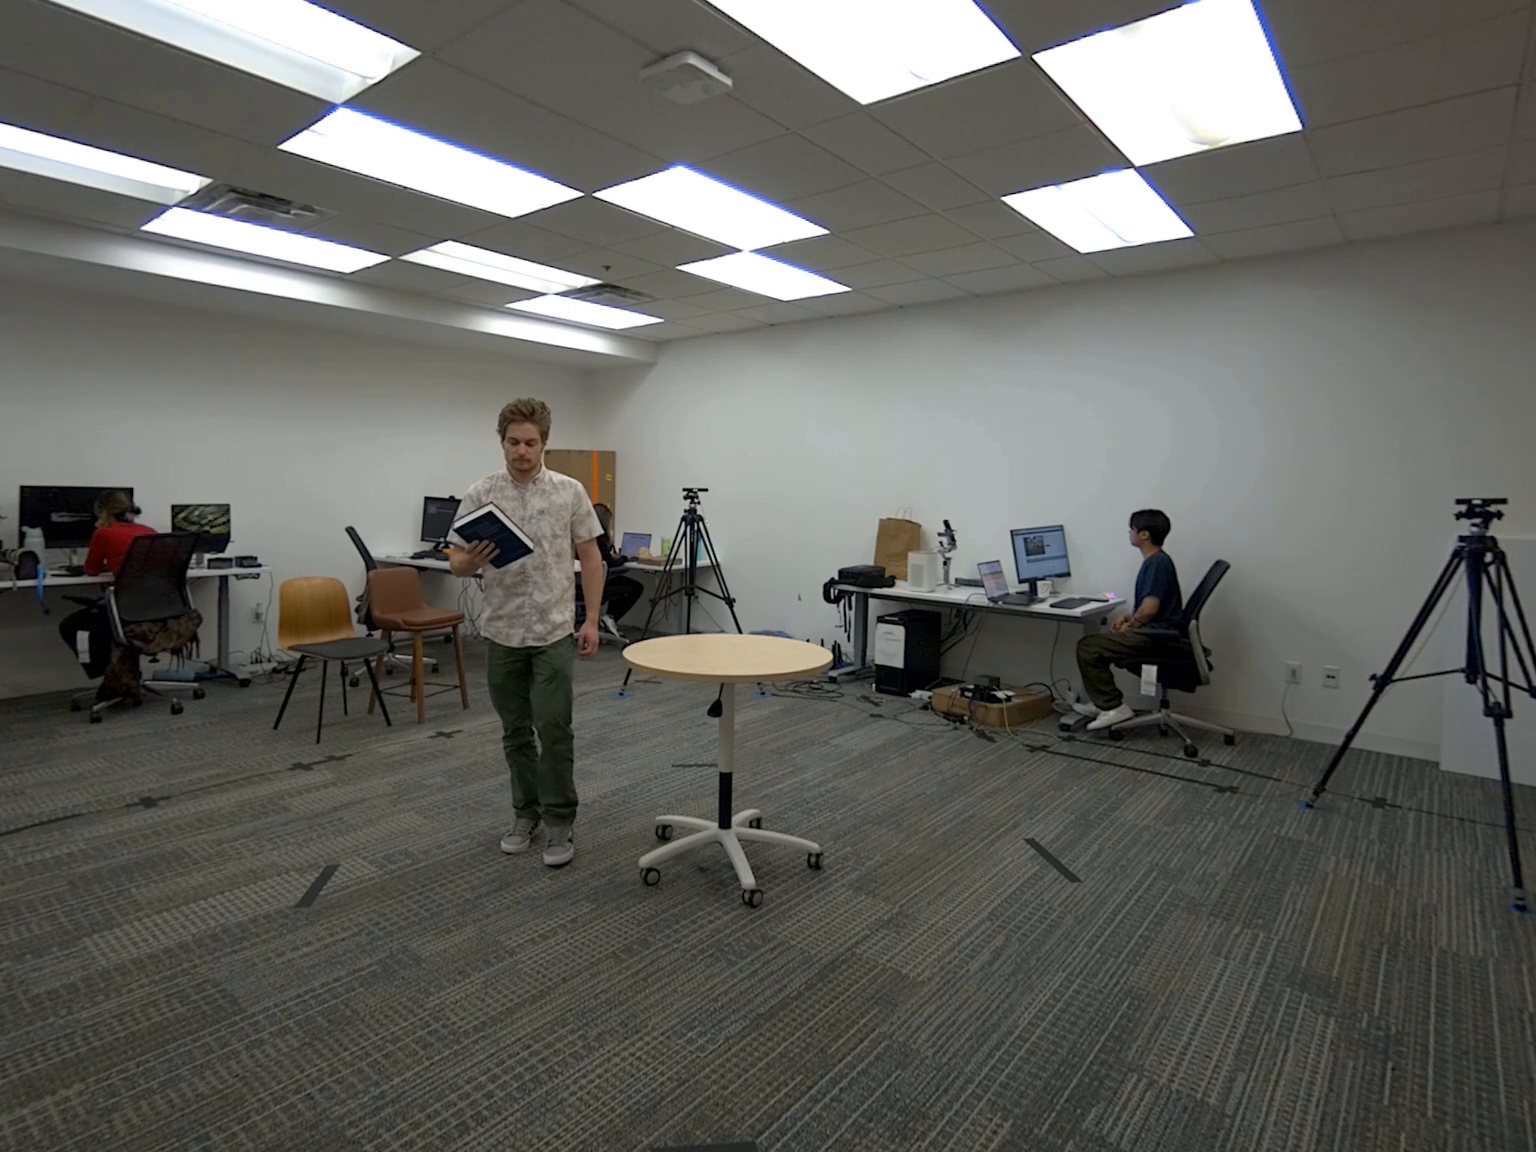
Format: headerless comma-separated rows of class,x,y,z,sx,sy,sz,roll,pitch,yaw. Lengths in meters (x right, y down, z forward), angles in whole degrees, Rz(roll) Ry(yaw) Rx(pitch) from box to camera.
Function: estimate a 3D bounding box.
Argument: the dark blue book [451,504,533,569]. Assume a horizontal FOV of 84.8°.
dark blue book,-0.973,-0.140,2.937,0.164,0.047,0.235,-24,-44,13
